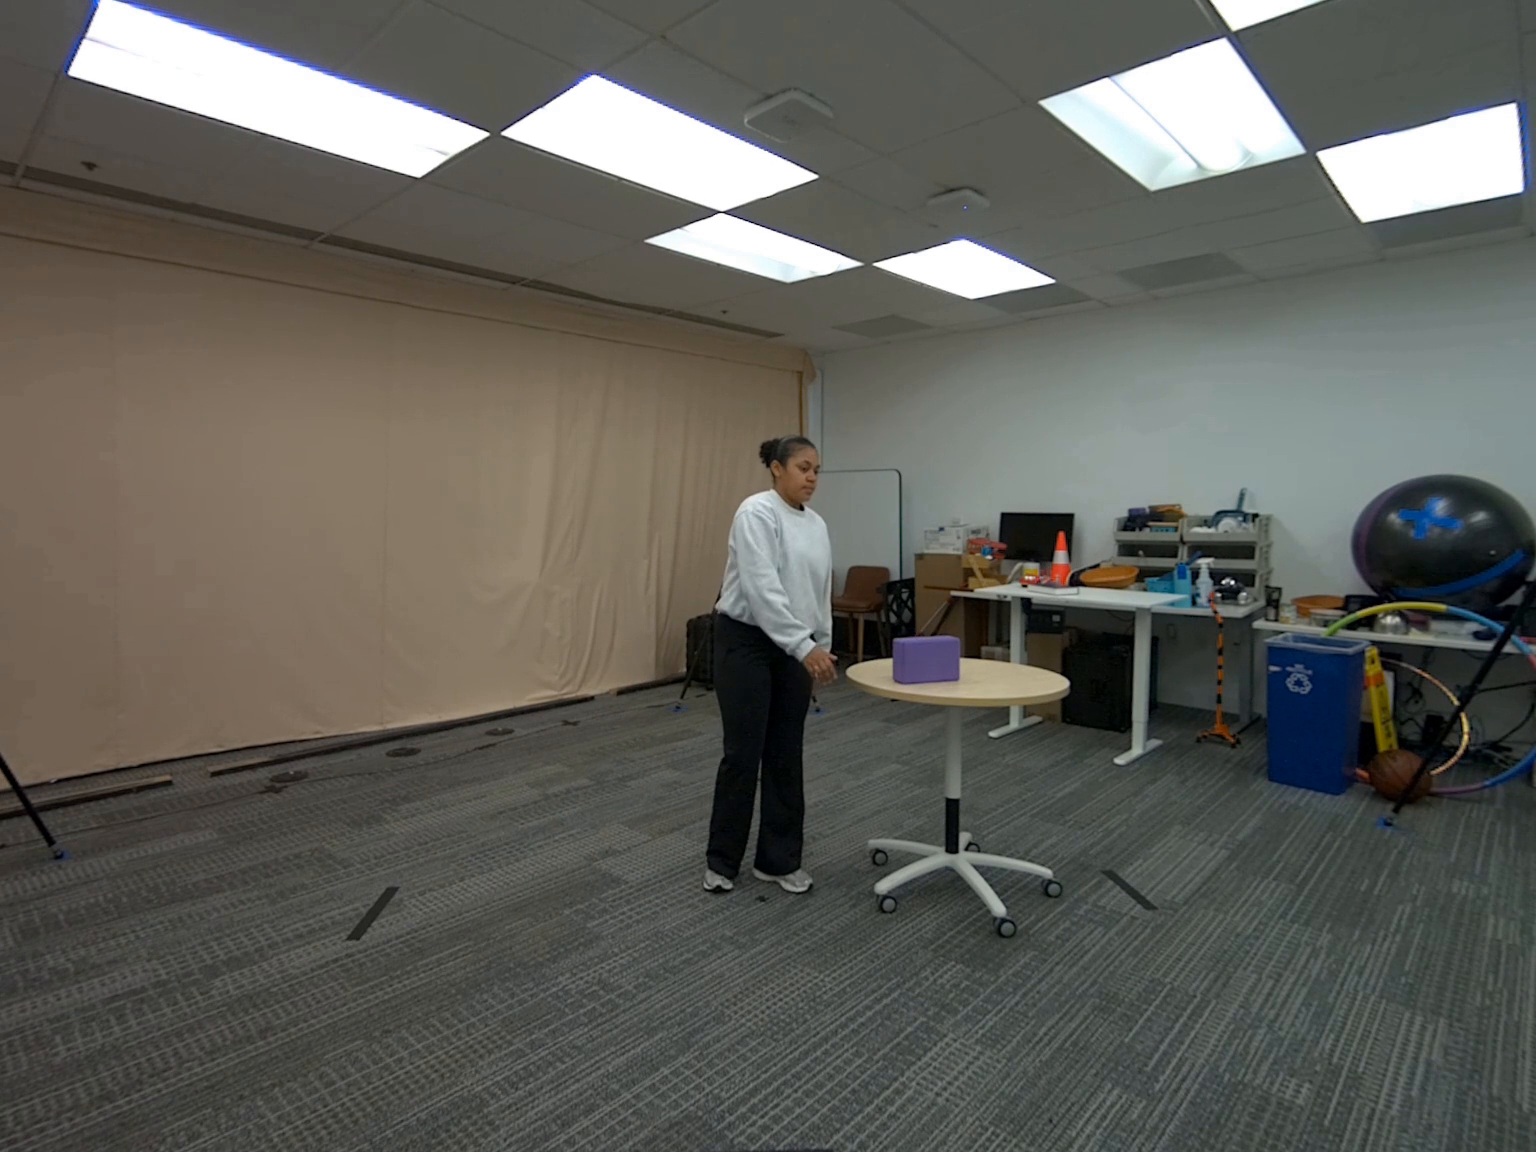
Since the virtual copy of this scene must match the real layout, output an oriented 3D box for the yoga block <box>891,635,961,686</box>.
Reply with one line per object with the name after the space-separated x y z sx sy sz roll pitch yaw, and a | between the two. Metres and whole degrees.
0.558 0.292 2.908 0.226 0.149 0.078 -1 4 -15 | yoga block
